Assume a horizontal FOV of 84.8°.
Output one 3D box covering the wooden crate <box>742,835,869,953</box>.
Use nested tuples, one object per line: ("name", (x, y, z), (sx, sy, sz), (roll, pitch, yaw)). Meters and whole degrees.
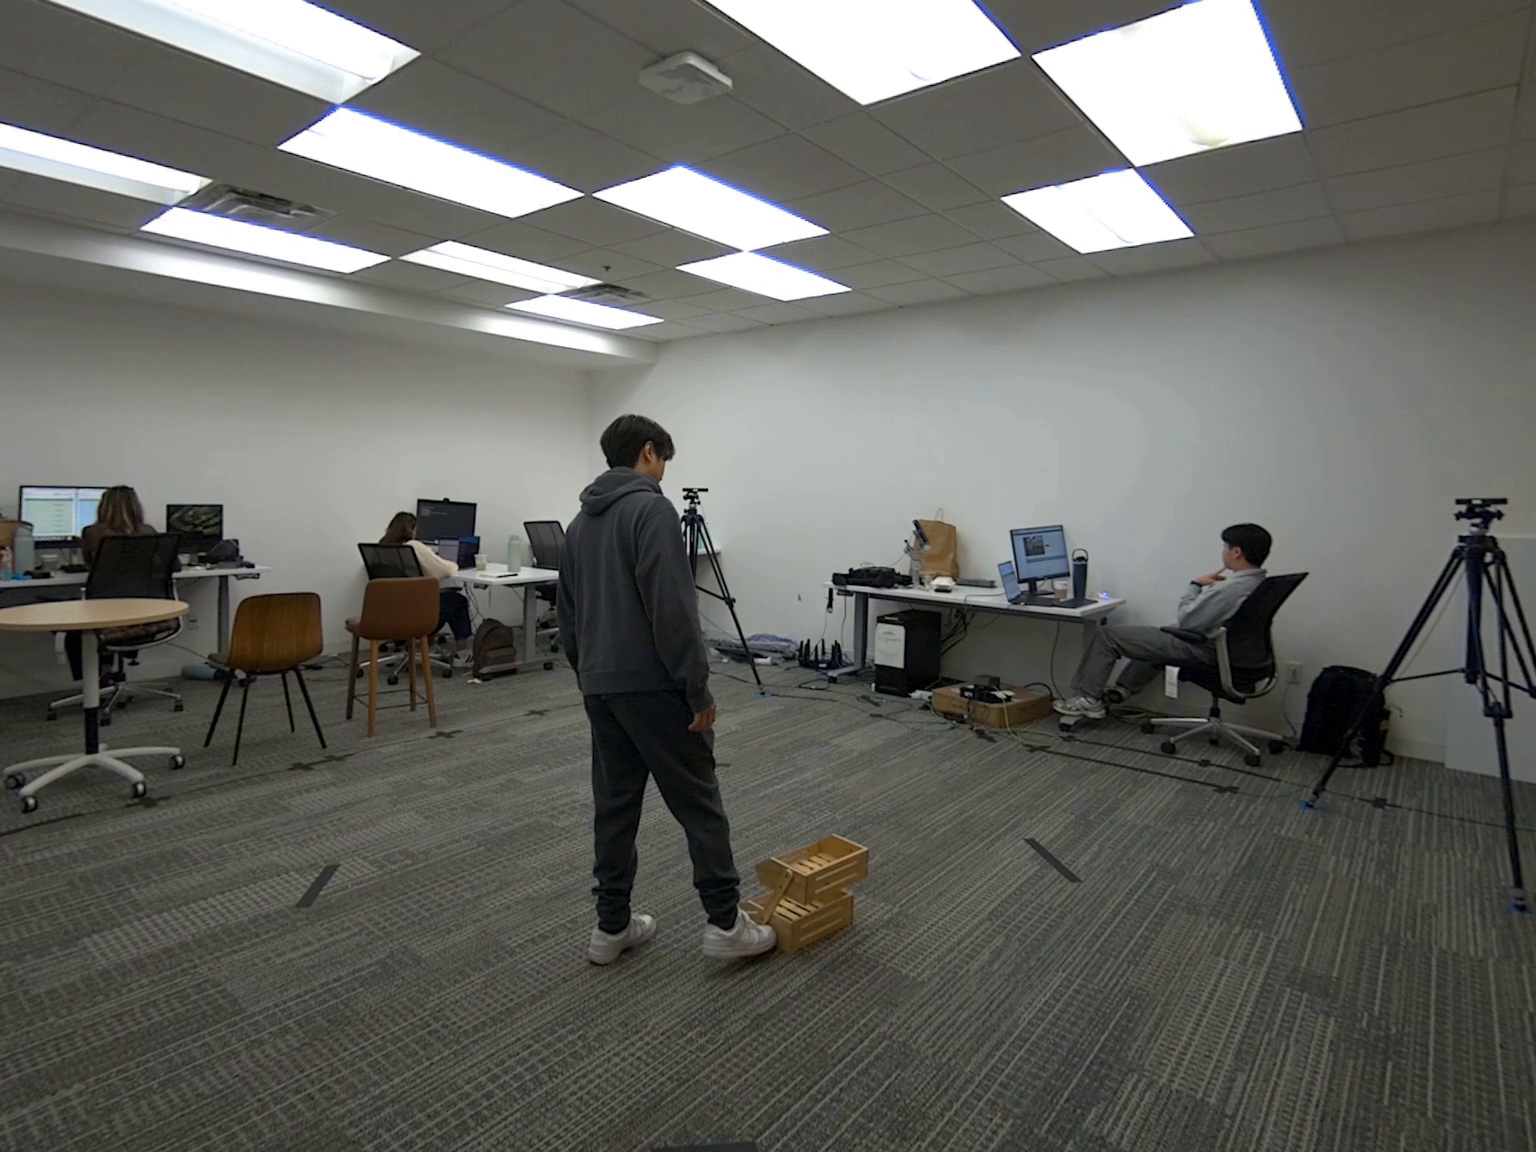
("wooden crate", (0.093, 0.978, 2.716), (0.314, 0.272, 0.312), (-3, 7, -45))
